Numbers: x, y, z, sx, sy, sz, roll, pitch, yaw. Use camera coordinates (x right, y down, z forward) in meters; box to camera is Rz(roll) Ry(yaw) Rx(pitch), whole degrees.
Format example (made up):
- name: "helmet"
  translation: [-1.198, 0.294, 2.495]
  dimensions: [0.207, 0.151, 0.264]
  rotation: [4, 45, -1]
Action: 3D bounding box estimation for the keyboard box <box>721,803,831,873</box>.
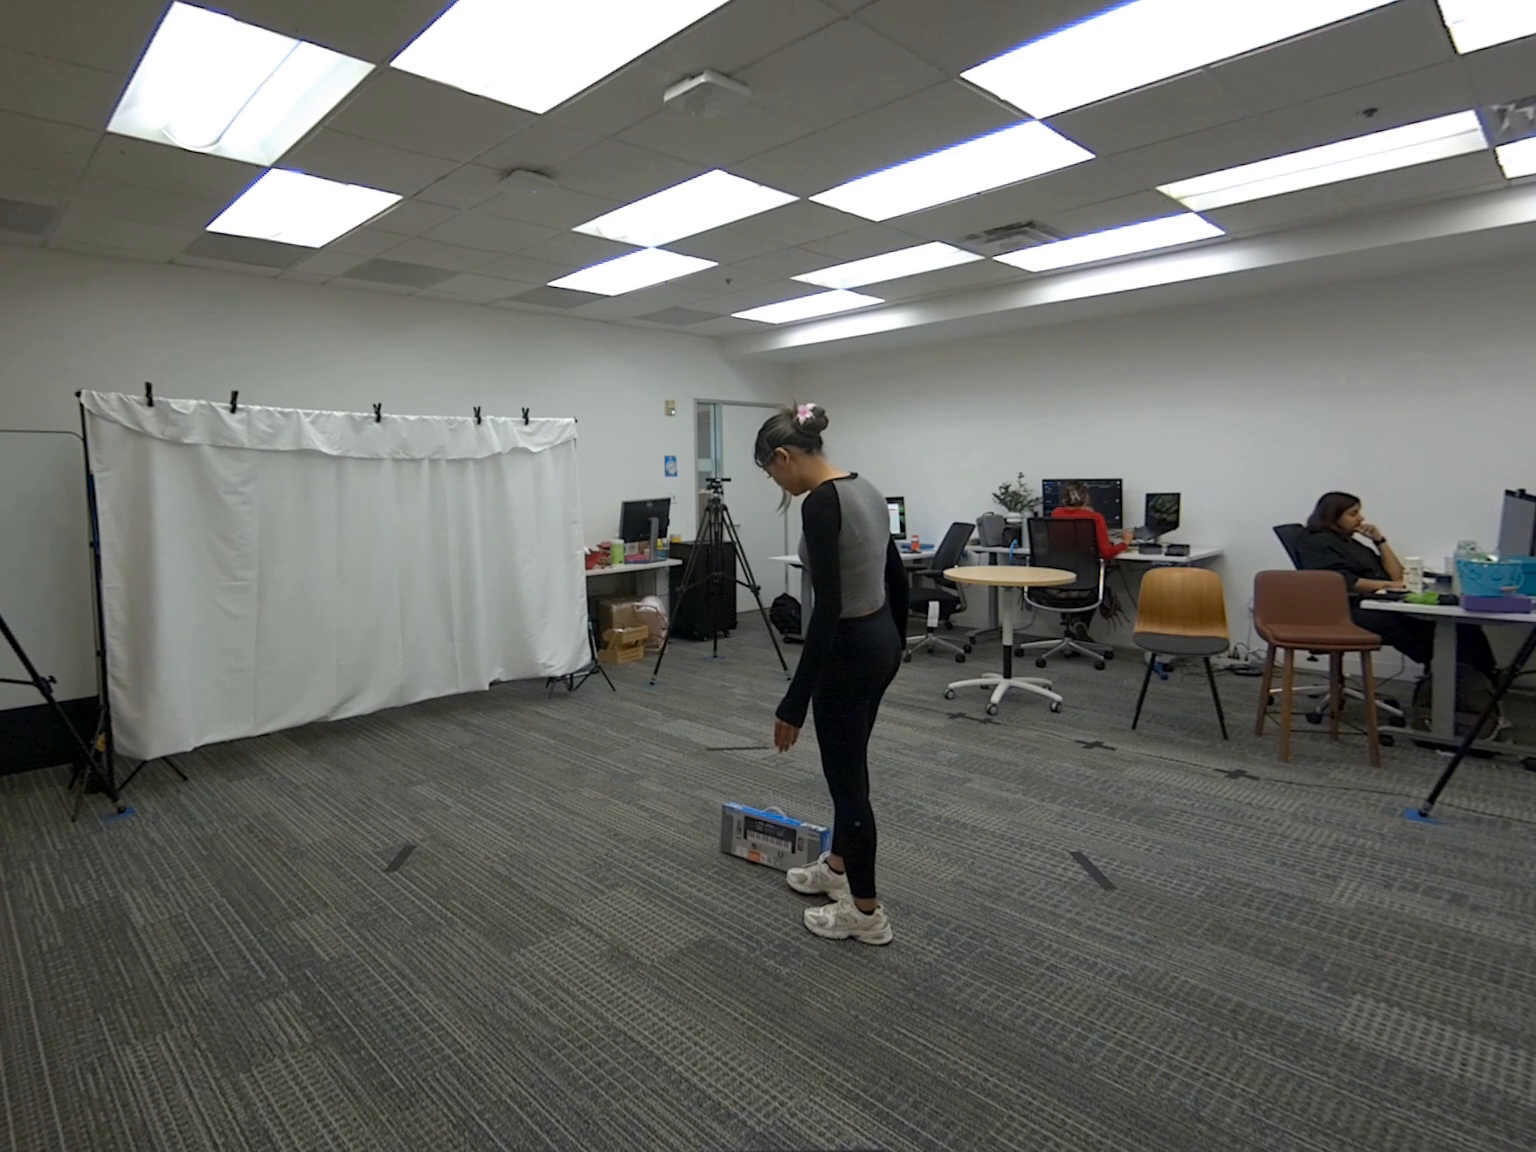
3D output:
- name: "keyboard box"
  translation: [0.021, 0.956, 3.083]
  dimensions: [0.450, 0.176, 0.057]
  rotation: [4, -1, 37]
